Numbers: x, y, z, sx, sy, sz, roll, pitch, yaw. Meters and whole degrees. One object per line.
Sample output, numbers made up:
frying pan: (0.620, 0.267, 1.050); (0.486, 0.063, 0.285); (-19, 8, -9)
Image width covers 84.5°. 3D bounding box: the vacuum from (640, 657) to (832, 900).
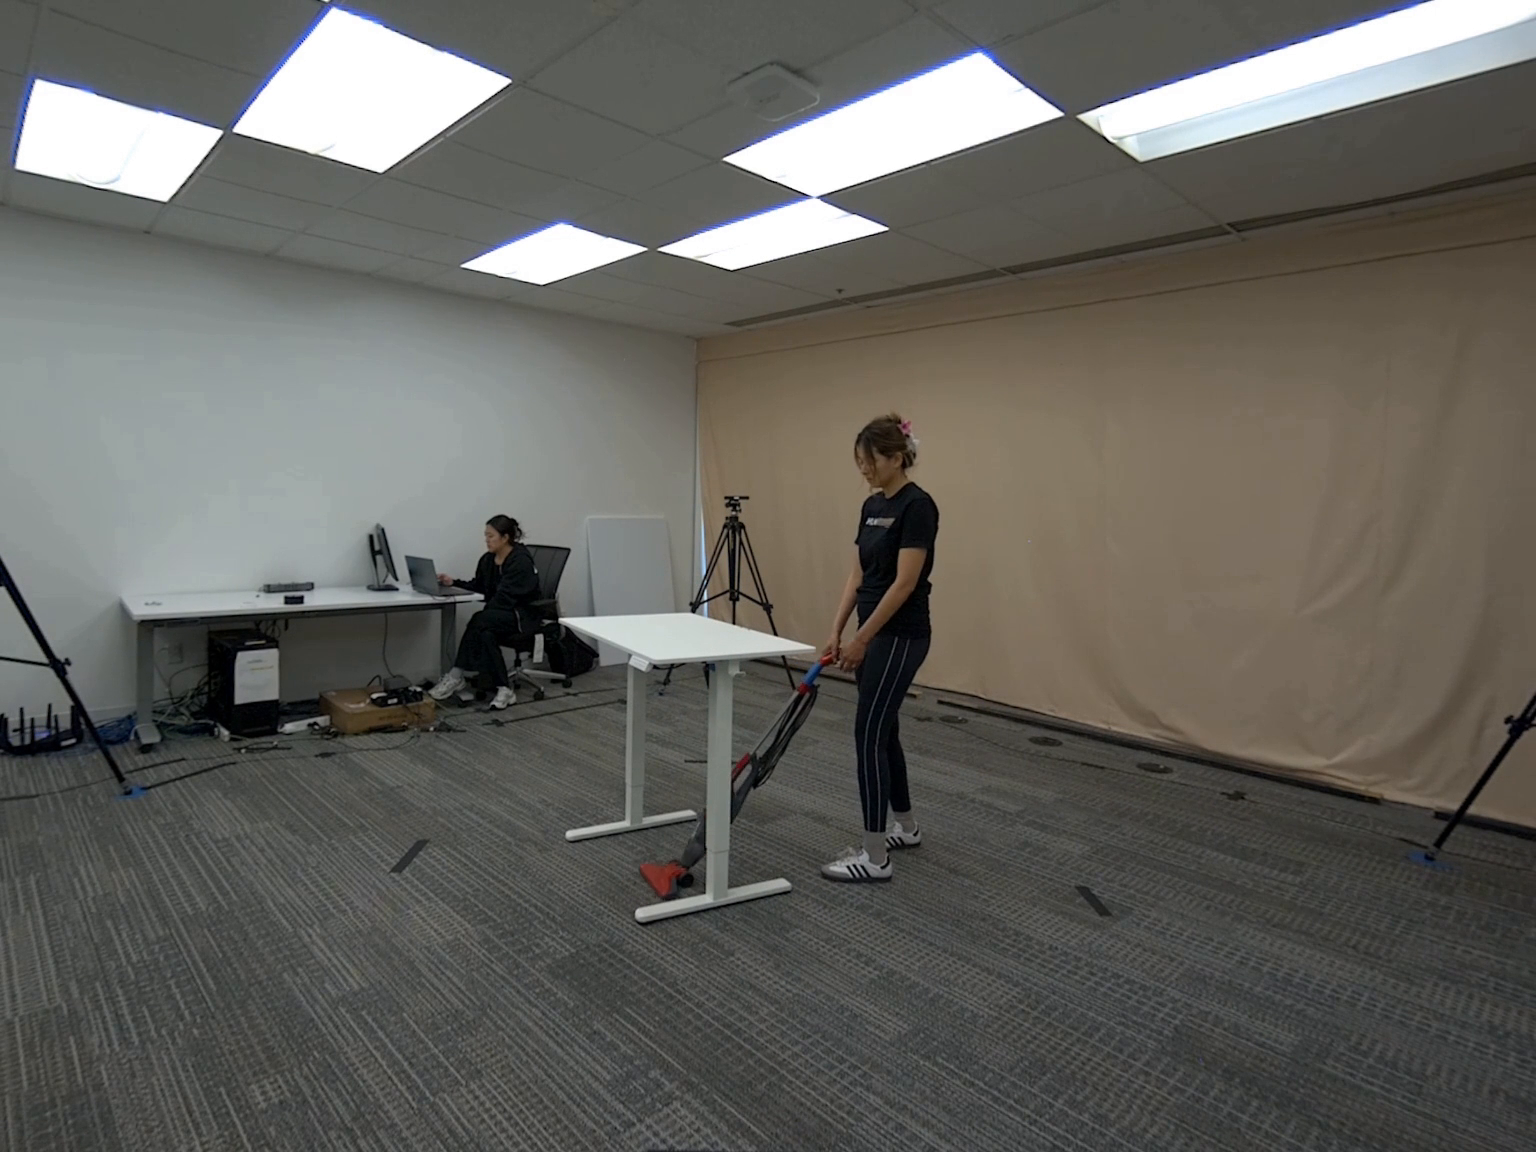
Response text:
vacuum: (-0.049, 0.723, 3.140); (0.141, 1.049, 0.257); (47, -14, -20)
